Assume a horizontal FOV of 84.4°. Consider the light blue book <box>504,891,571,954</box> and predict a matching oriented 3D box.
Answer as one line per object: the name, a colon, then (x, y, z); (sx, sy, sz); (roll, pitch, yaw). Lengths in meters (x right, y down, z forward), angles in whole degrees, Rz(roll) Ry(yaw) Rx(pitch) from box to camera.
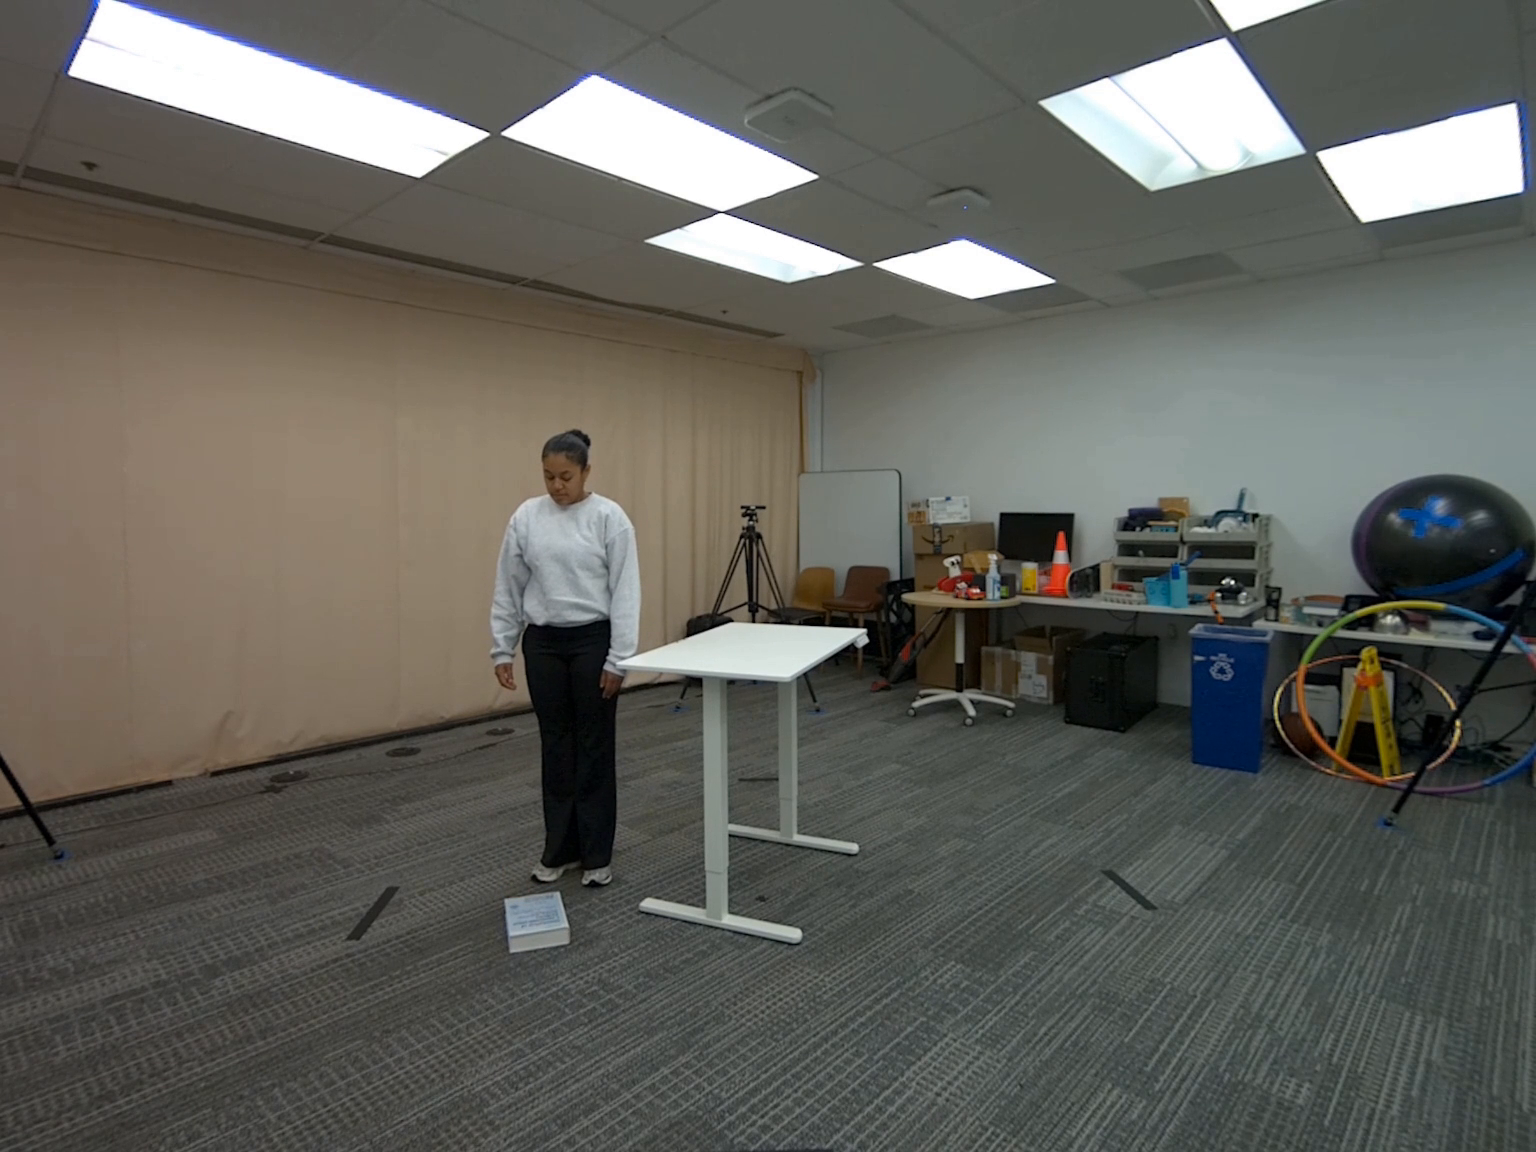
light blue book: (-0.758, 1.128, 2.778); (0.188, 0.059, 0.266); (-3, 5, -19)
